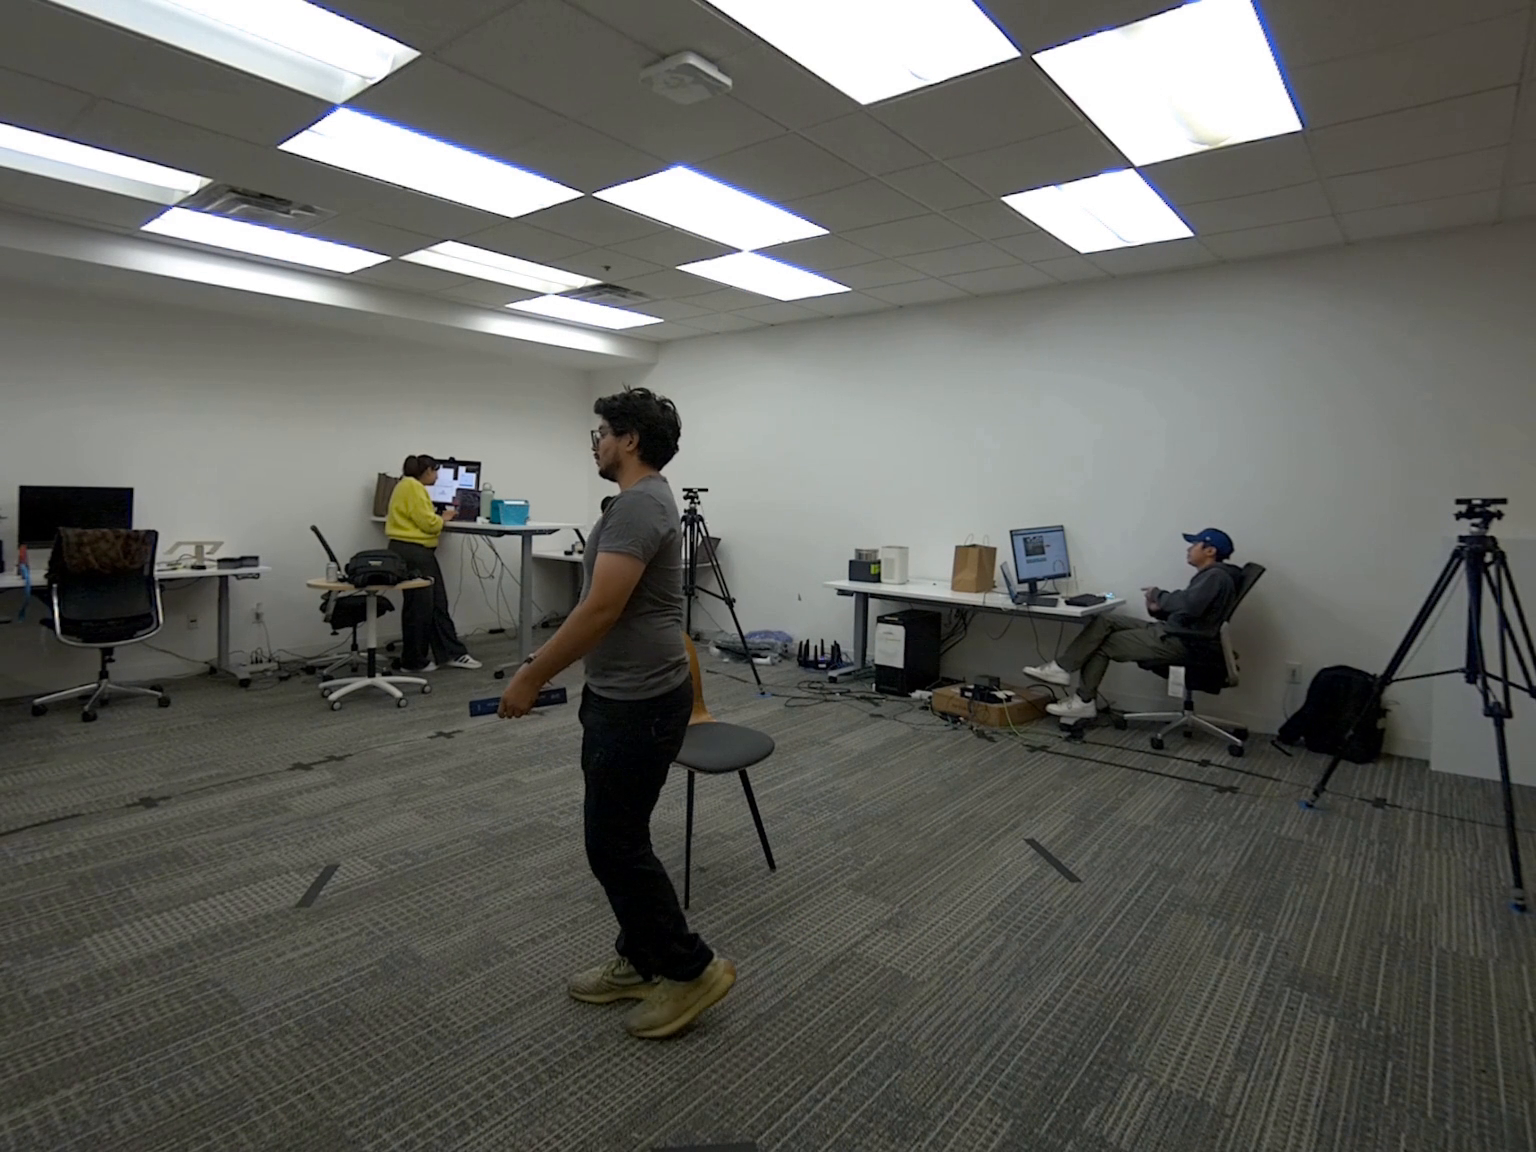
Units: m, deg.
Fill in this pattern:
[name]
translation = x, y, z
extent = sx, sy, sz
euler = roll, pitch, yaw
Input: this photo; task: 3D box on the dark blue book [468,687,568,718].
[dark blue book]
translation = -0.670, 0.332, 2.240
extent = 0.242, 0.045, 0.165
euler = -6, -4, -15
